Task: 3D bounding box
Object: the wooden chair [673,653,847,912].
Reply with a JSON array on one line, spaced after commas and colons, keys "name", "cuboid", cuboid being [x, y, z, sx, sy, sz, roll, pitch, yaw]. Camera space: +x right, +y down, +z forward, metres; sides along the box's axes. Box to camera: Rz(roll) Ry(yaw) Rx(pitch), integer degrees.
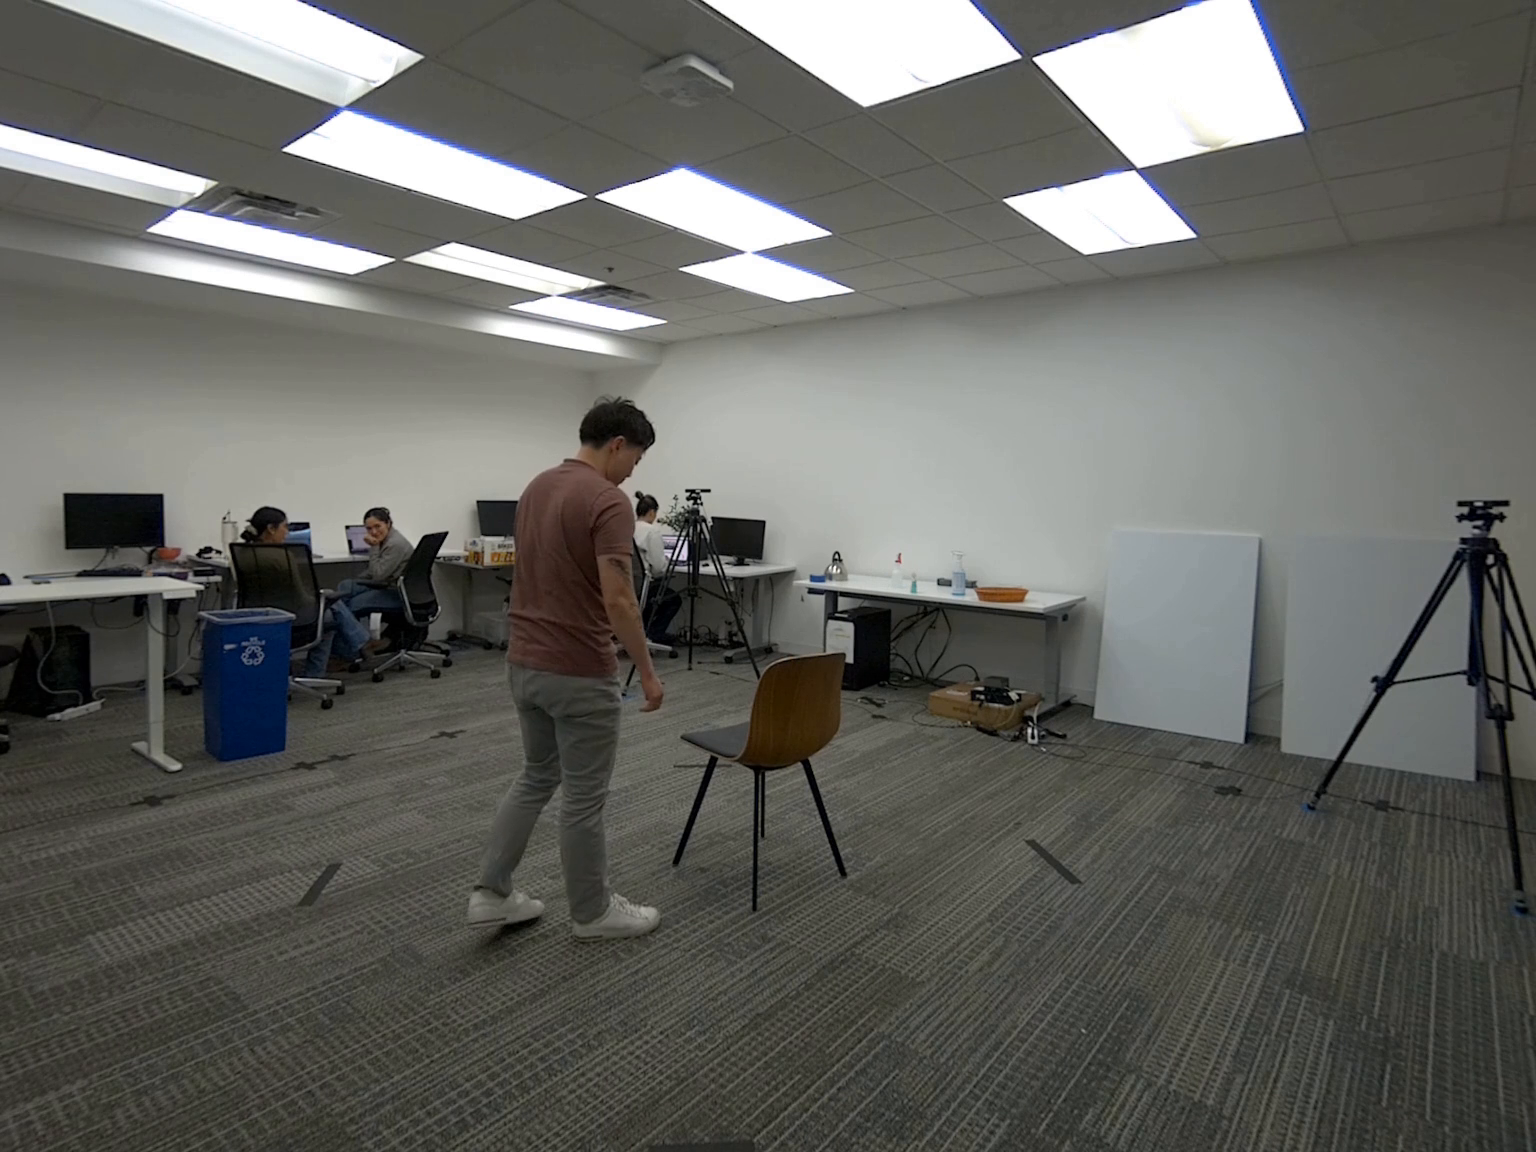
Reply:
[{"name": "wooden chair", "cuboid": [-0.039, 0.651, 3.102, 0.463, 0.872, 0.542, -1, 8, -41]}]
